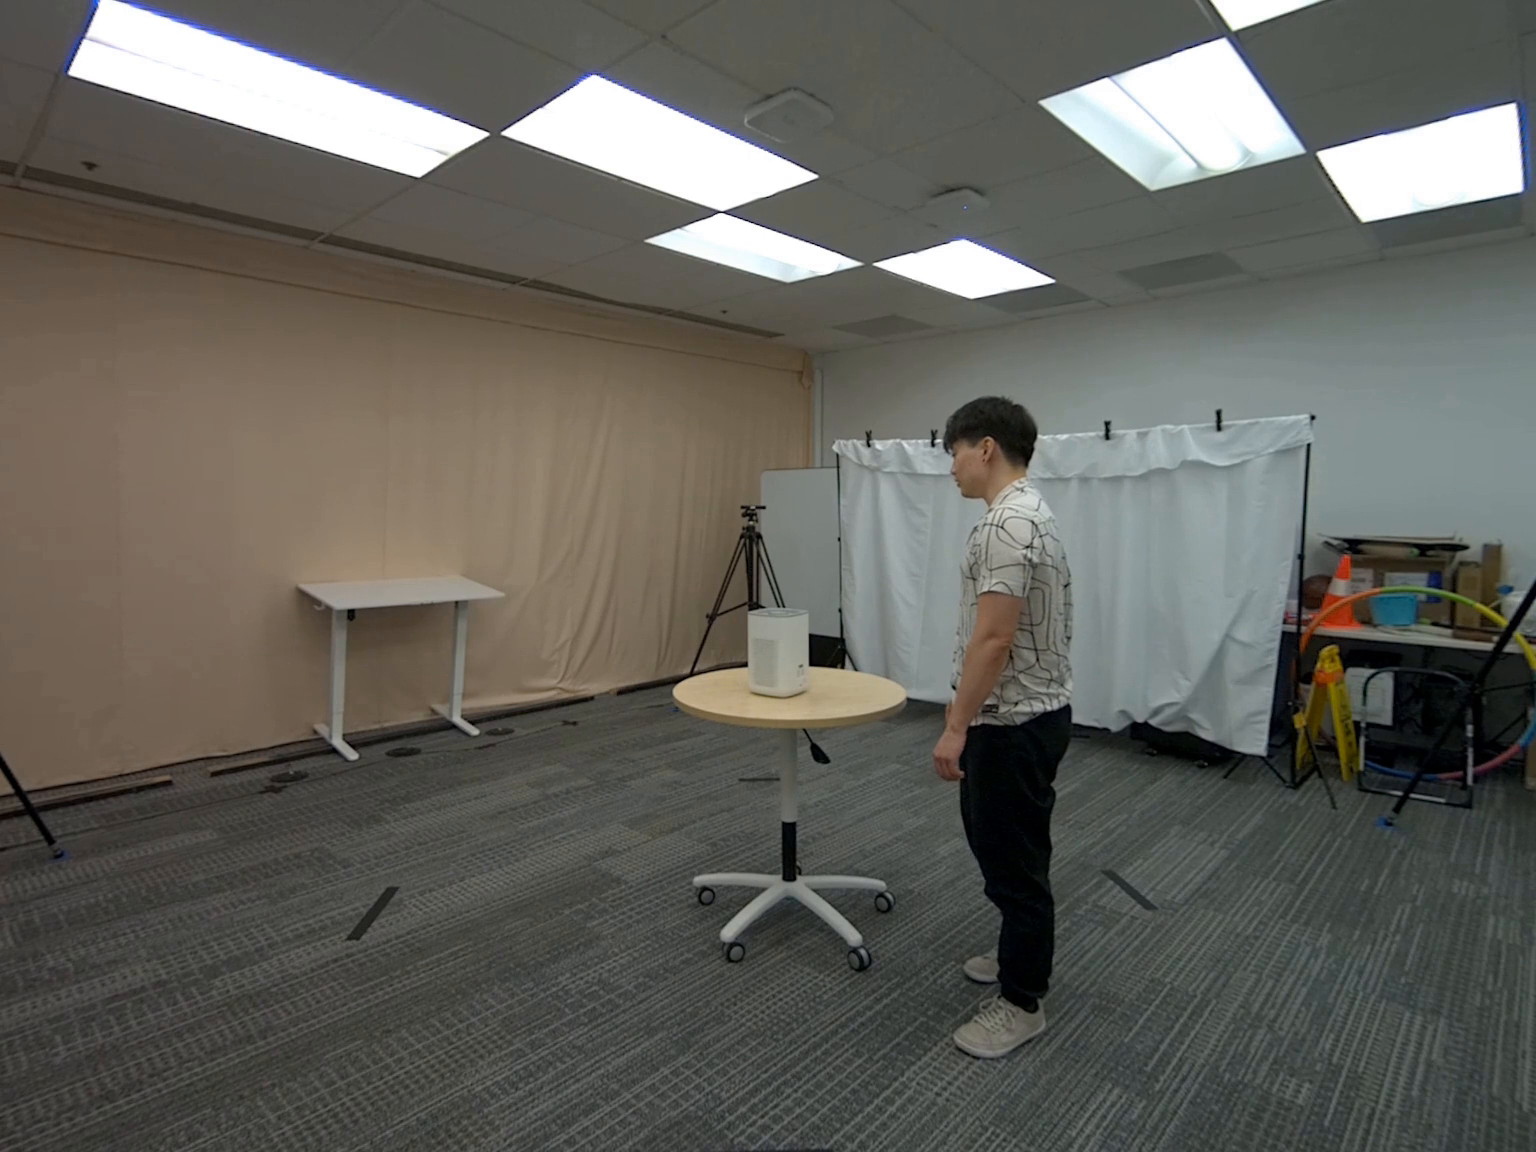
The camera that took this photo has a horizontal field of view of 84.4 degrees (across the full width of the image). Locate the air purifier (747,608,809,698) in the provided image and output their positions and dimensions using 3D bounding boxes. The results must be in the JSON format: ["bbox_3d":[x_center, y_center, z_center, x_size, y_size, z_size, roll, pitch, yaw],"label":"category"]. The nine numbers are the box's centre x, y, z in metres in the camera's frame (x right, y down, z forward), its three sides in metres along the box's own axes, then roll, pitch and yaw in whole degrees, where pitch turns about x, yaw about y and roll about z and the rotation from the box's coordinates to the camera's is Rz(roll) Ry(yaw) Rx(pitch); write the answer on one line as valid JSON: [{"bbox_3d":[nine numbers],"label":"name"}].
[{"bbox_3d":[0.038,0.248,2.740,0.177,0.265,0.166,2,4,34],"label":"air purifier"}]
